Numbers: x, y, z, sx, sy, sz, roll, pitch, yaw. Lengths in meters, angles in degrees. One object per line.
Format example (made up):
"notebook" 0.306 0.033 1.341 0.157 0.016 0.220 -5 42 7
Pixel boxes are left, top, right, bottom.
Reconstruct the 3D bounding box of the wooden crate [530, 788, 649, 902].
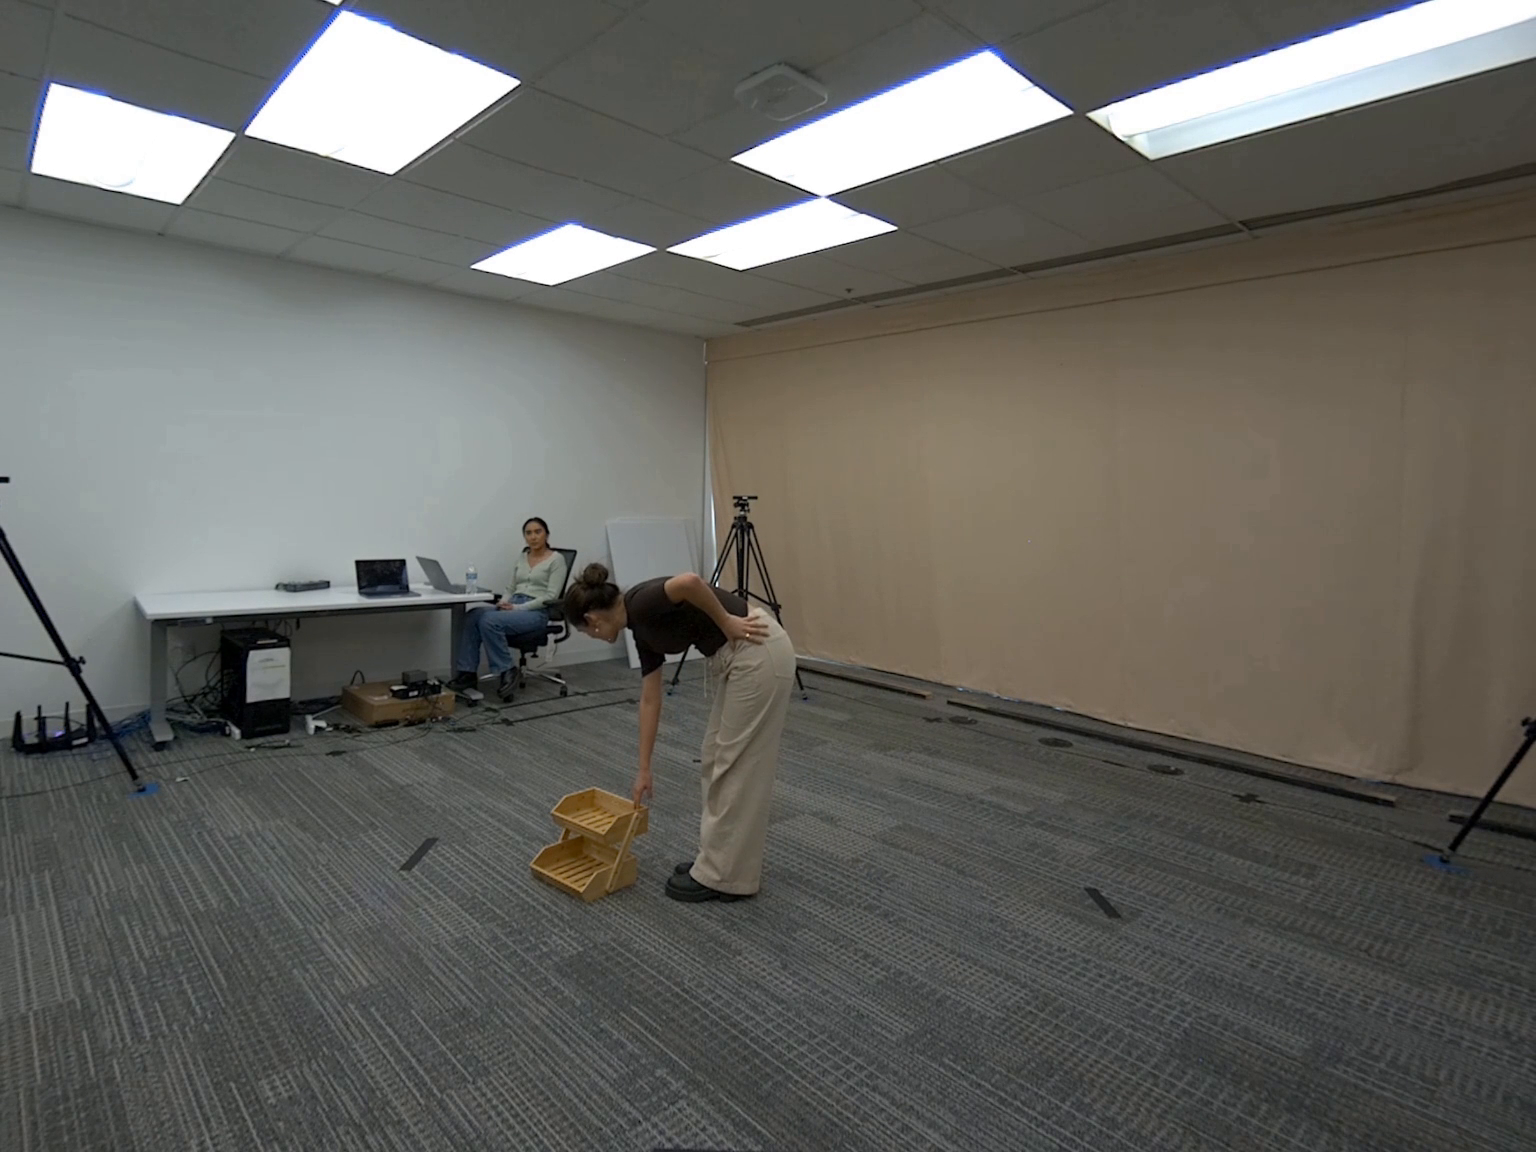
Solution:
"wooden crate" -0.652 0.958 3.049 0.333 0.273 0.295 5 5 40
